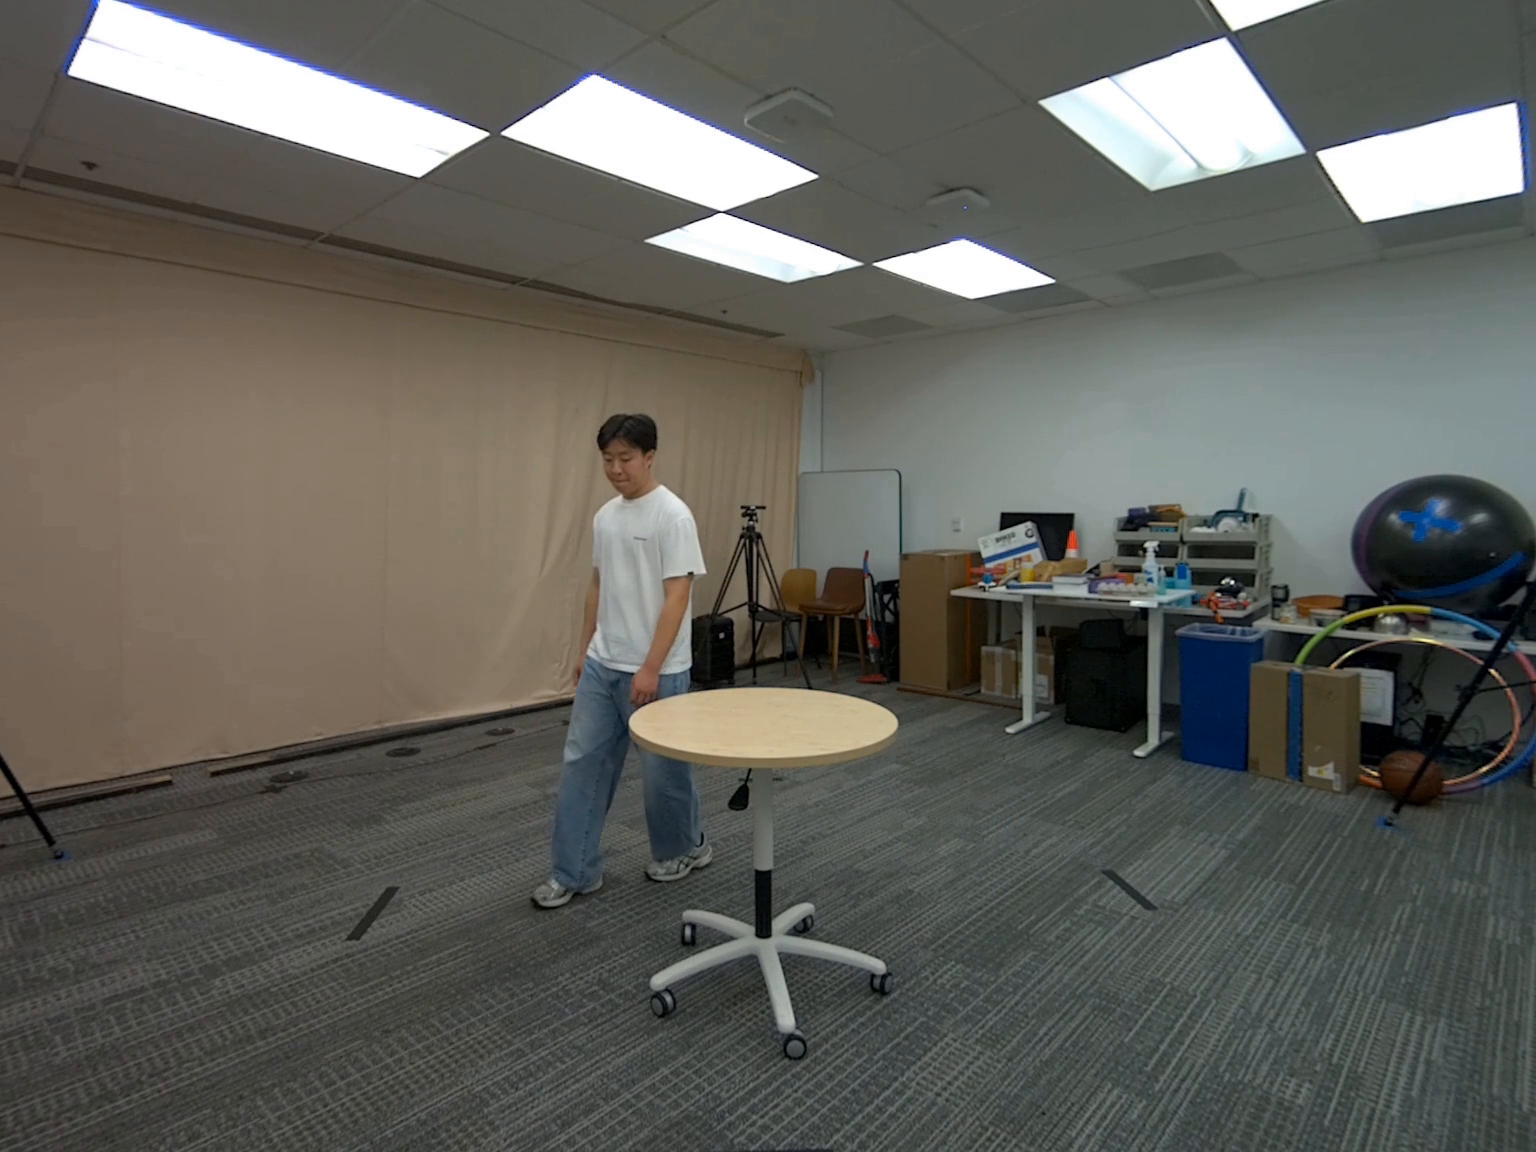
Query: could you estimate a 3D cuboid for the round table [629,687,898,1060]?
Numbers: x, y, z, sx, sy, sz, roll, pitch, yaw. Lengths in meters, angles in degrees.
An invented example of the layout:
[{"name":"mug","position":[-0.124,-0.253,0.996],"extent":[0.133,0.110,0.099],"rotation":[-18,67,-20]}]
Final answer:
[{"name":"round table","position":[-0.021,0.797,2.441],"extent":[0.784,0.785,0.788],"rotation":[0,4,-2]}]
